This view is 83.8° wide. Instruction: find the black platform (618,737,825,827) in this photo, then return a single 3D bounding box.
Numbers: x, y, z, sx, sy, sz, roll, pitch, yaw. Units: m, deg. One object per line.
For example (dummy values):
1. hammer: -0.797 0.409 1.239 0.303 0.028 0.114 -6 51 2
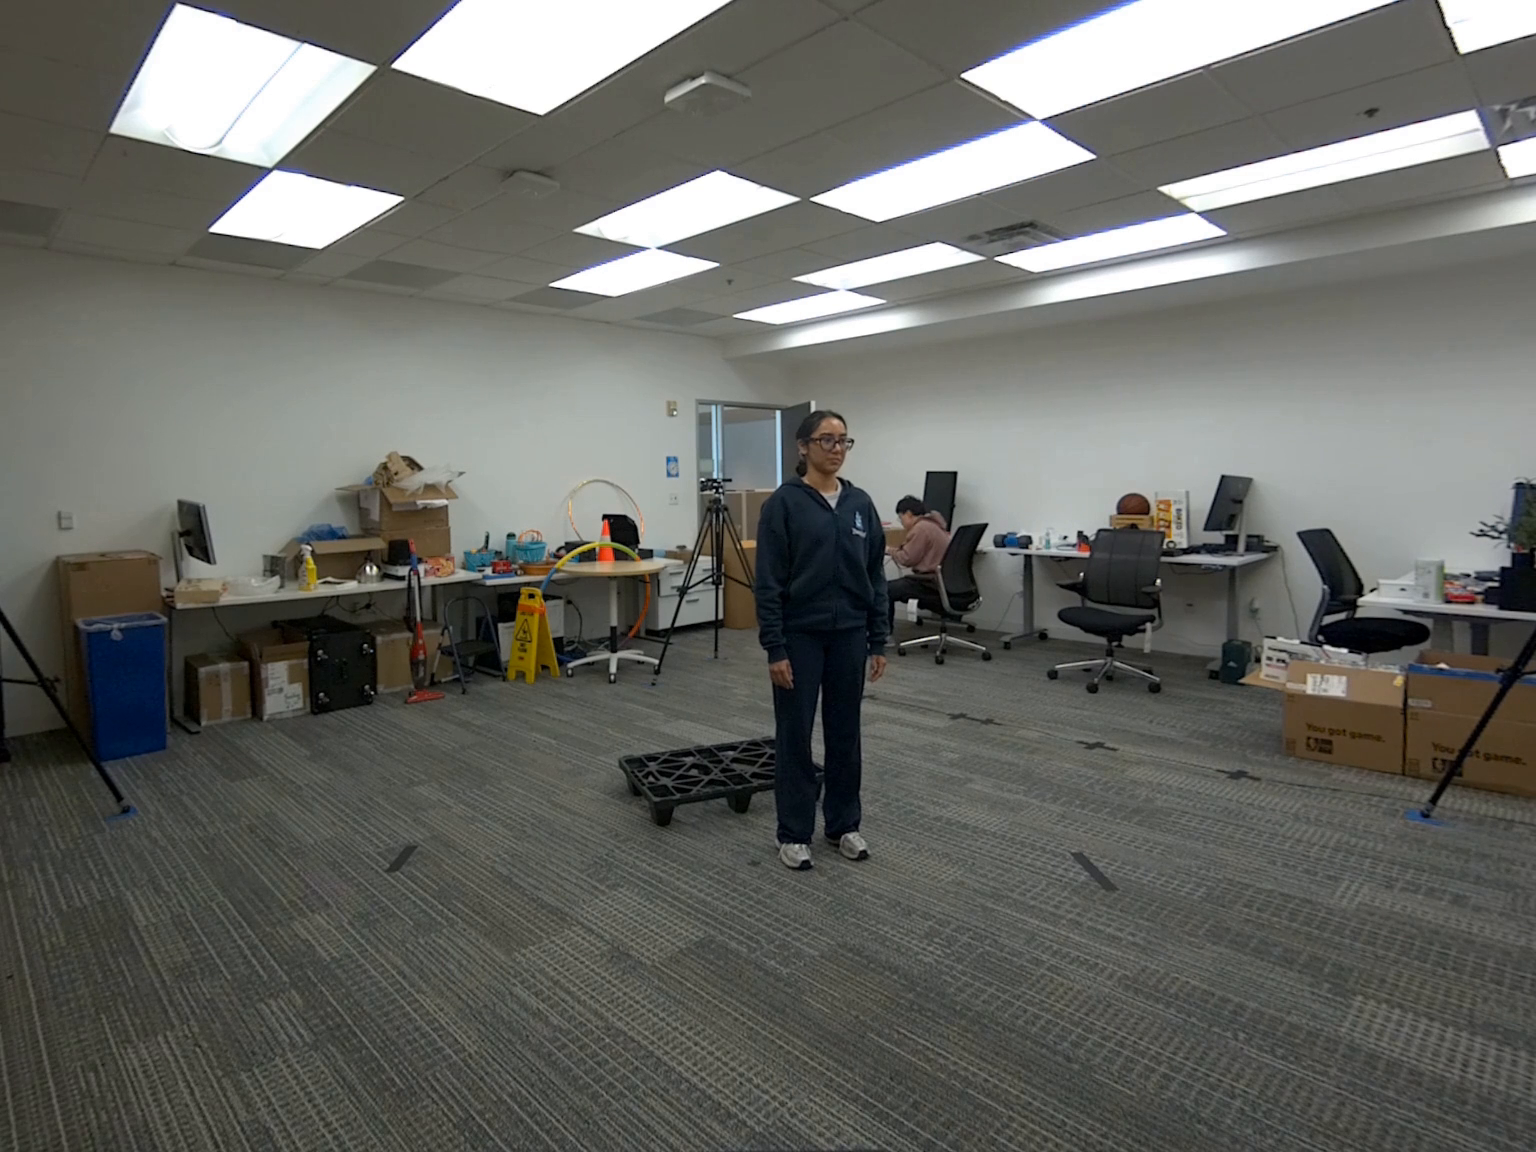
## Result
1. black platform: -0.198 0.905 3.790 0.790 0.142 0.619 -4 7 -22
